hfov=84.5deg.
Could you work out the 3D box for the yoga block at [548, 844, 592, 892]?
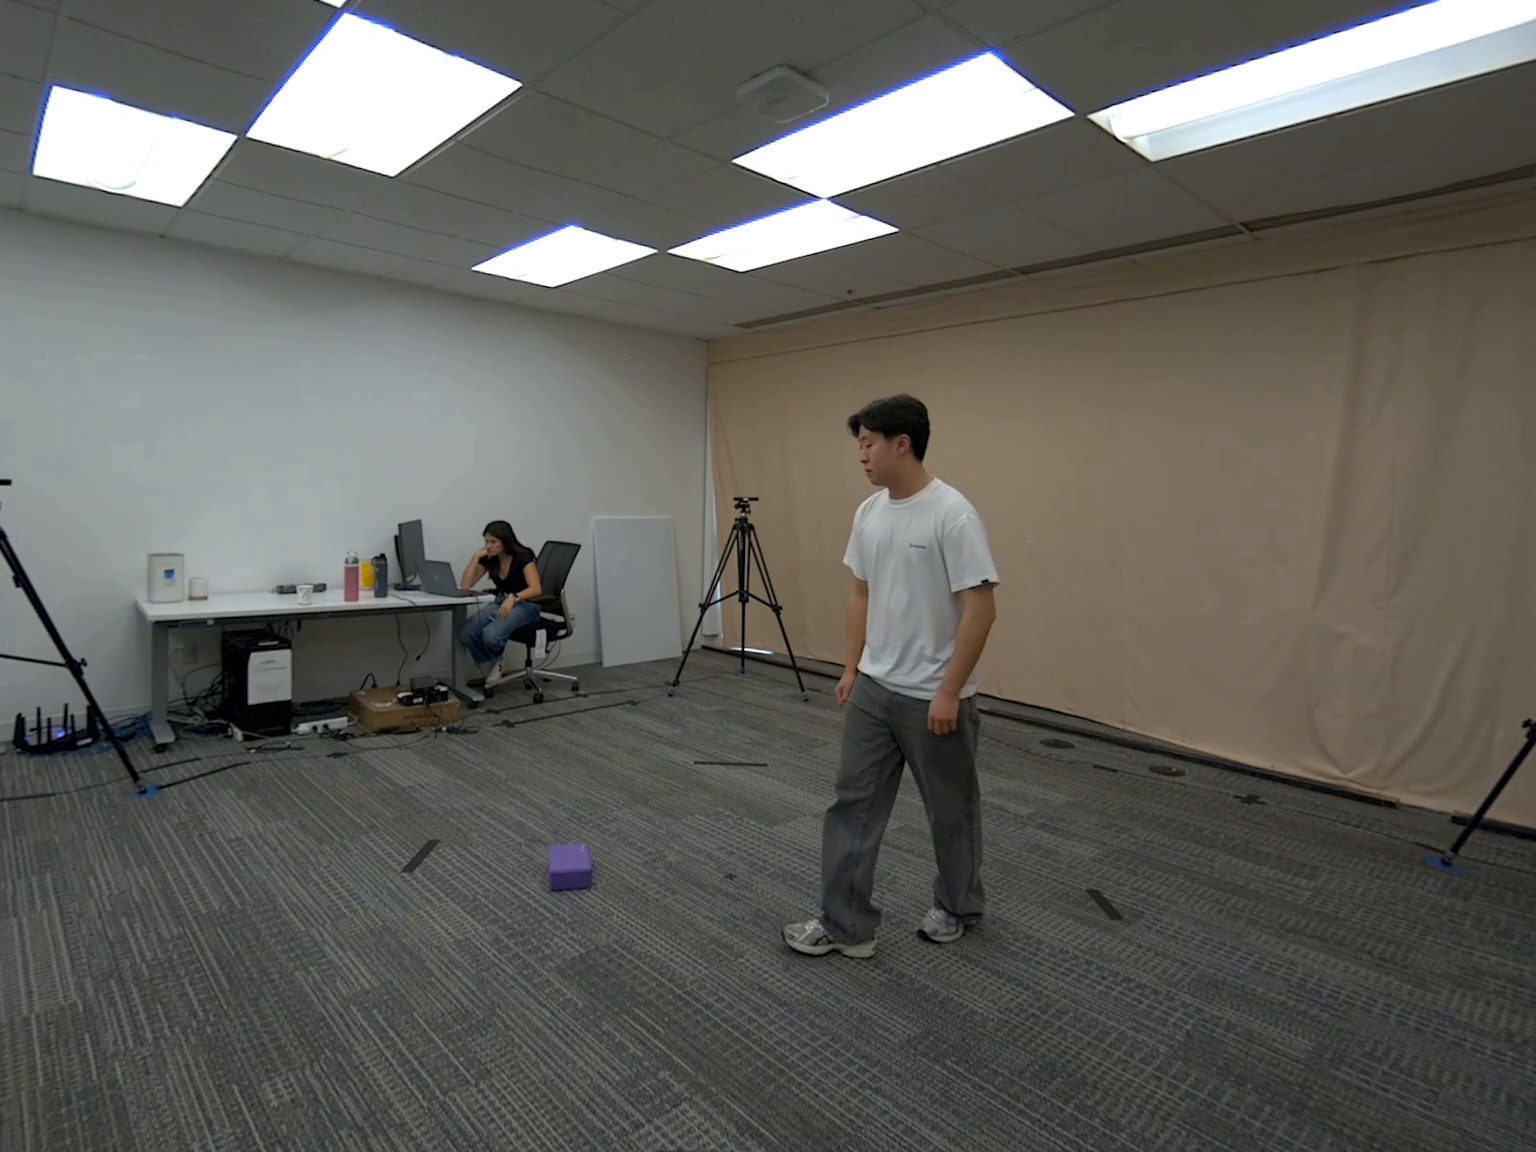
[{"bbox_3d":[-0.730,1.061,3.064,0.147,0.076,0.232,1,6,-14],"label":"yoga block"}]
